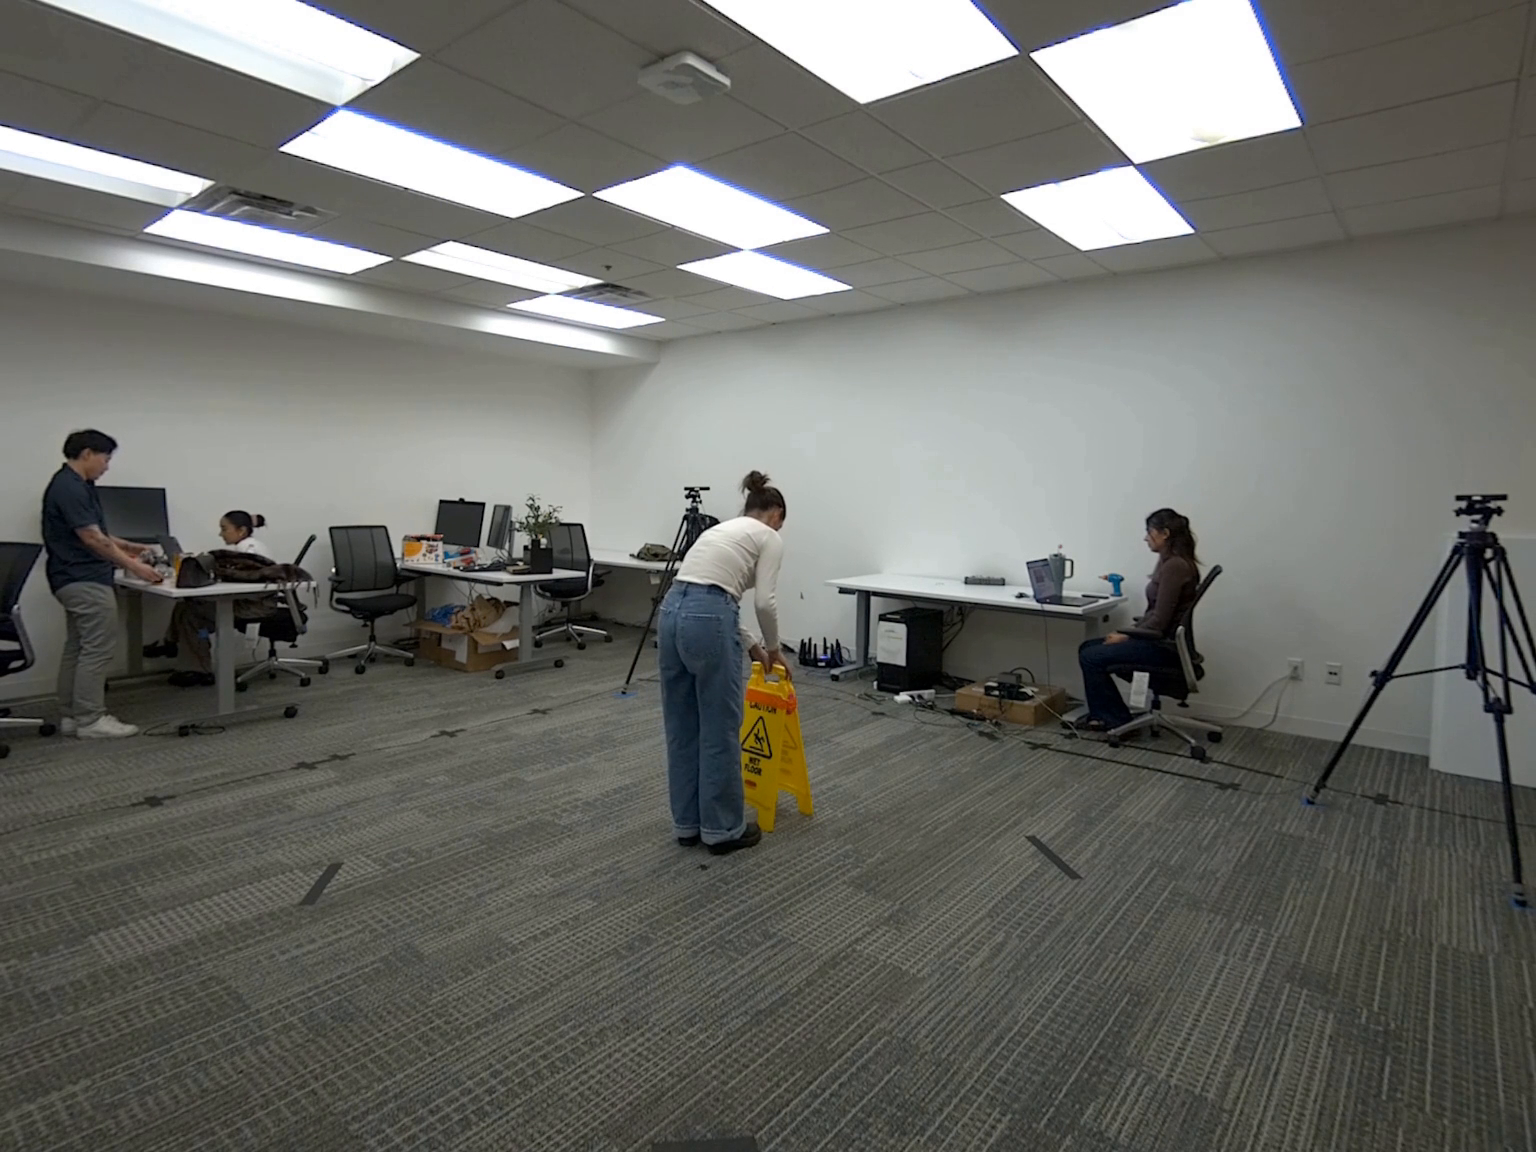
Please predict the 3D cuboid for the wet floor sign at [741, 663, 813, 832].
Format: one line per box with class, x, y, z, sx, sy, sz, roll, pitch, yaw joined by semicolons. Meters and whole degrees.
wet floor sign;-0.004;0.694;3.622;0.292;0.644;0.281;3;4;42
